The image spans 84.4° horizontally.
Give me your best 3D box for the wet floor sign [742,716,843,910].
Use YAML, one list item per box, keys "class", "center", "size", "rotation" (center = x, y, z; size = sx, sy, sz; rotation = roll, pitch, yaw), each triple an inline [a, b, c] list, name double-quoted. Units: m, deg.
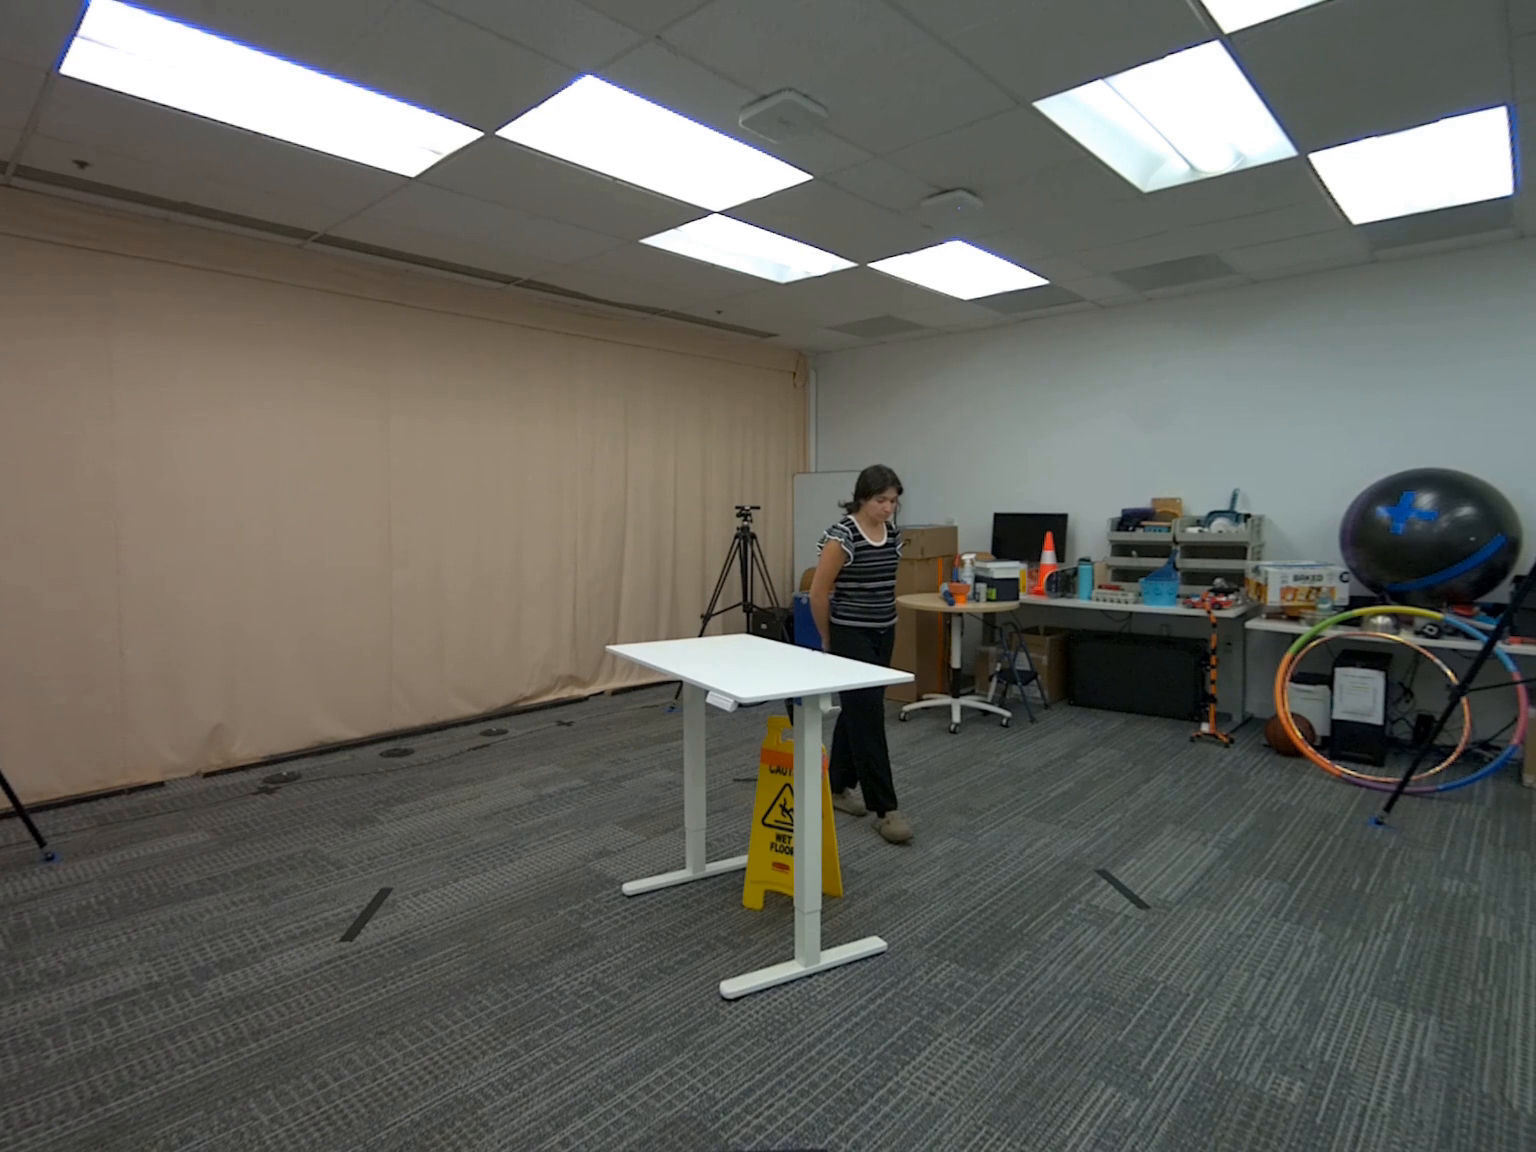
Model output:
- class: "wet floor sign"
  center: [0.093, 0.822, 2.948]
  size: [0.290, 0.644, 0.282]
  rotation: [2, 4, 30]
